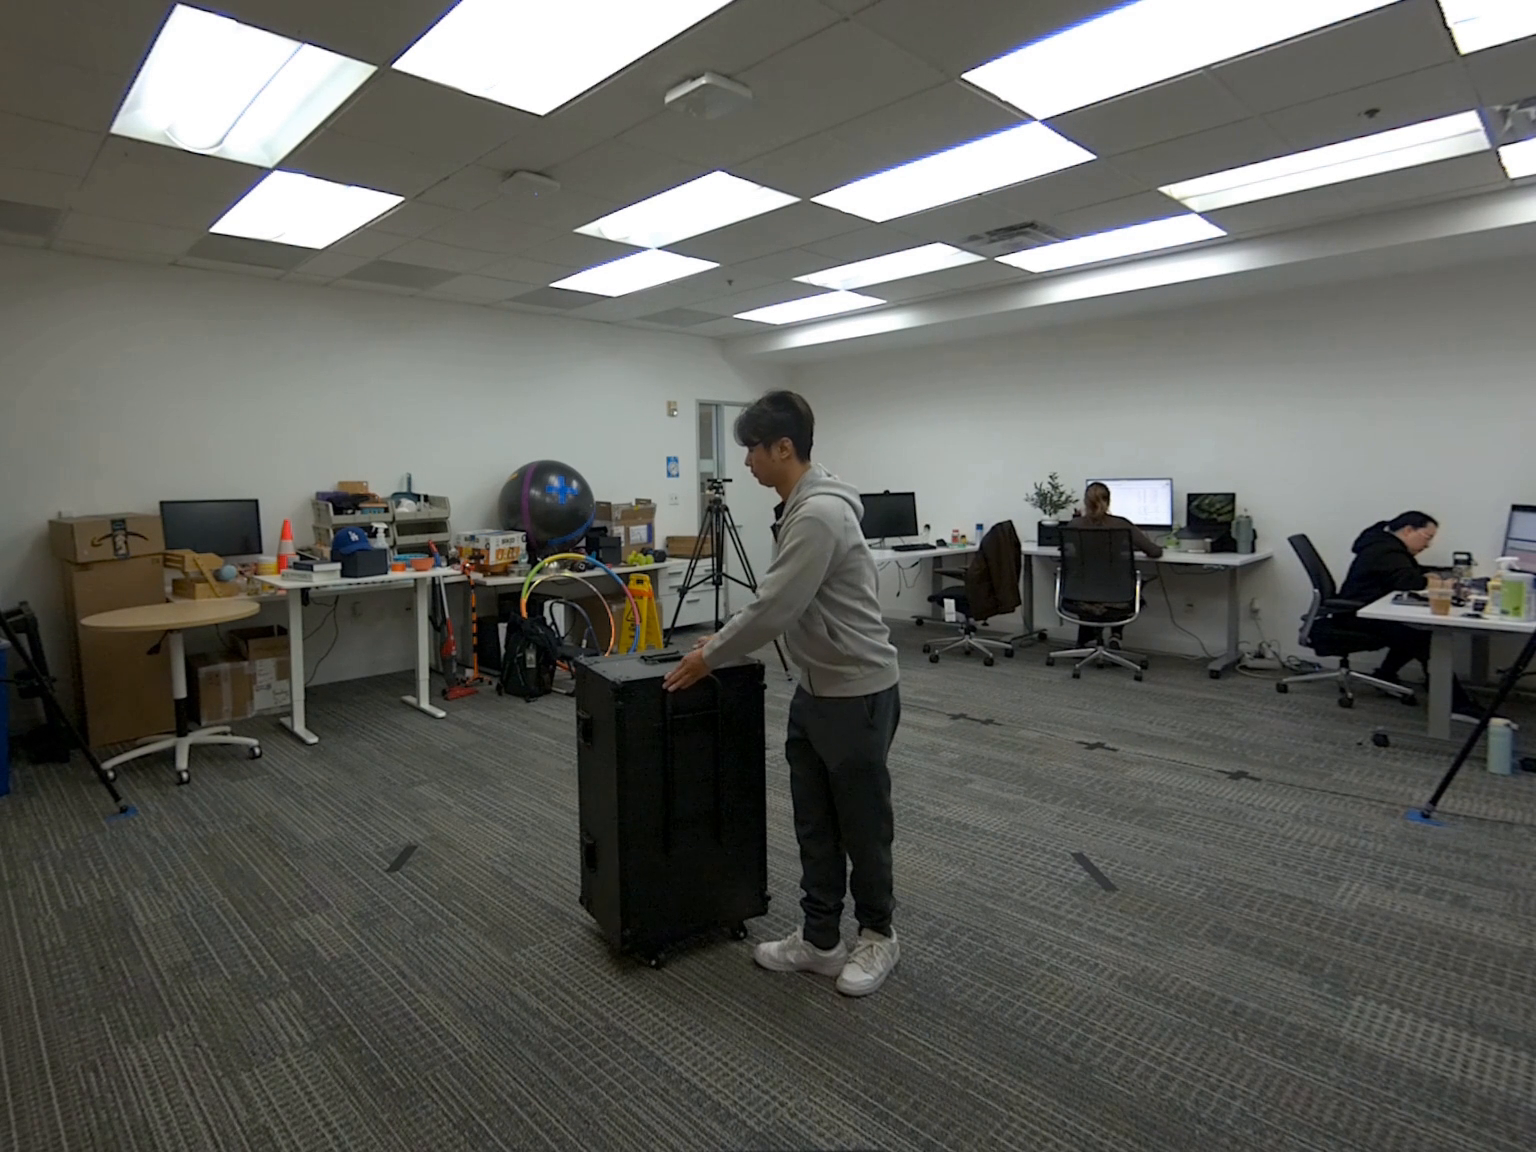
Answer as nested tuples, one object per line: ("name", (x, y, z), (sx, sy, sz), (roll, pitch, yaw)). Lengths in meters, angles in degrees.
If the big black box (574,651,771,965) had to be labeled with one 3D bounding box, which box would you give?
("big black box", (-0.284, 0.681, 2.620), (0.509, 0.858, 0.407), (-3, 6, -30))
